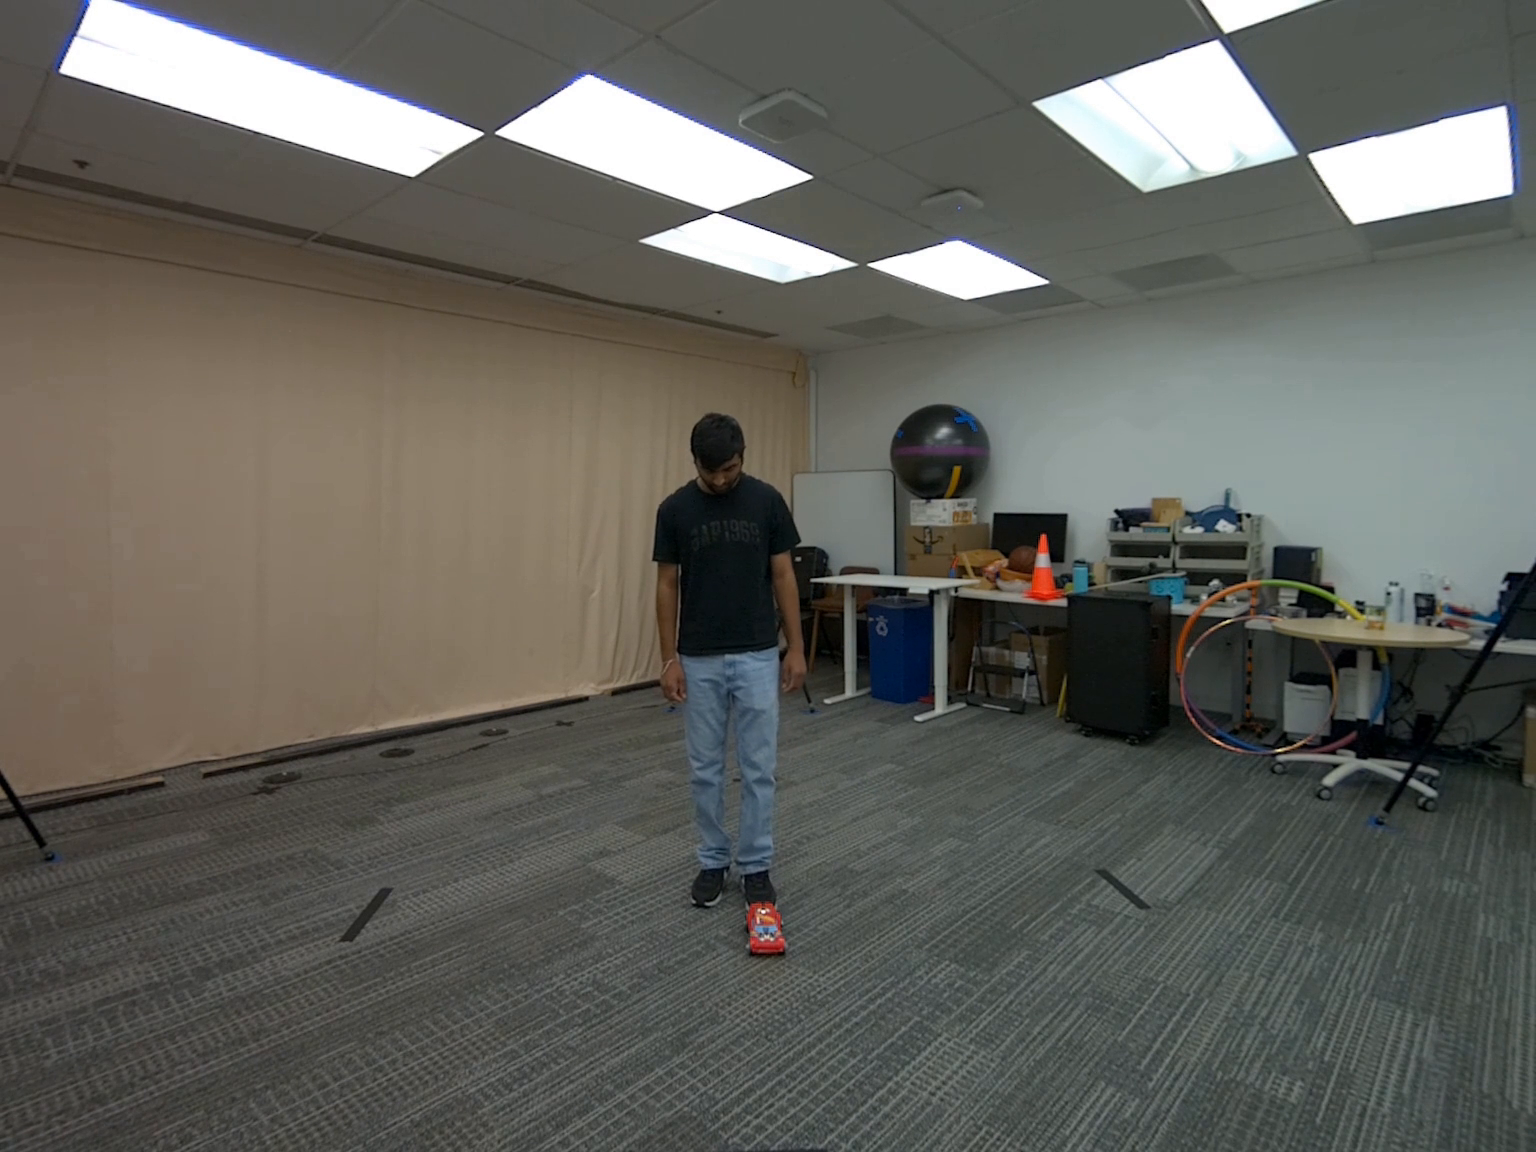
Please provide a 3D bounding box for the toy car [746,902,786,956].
[{"bbox_3d":[-0.010,1.128,2.708,0.130,0.082,0.257,-2,16,-2],"label":"toy car"}]
